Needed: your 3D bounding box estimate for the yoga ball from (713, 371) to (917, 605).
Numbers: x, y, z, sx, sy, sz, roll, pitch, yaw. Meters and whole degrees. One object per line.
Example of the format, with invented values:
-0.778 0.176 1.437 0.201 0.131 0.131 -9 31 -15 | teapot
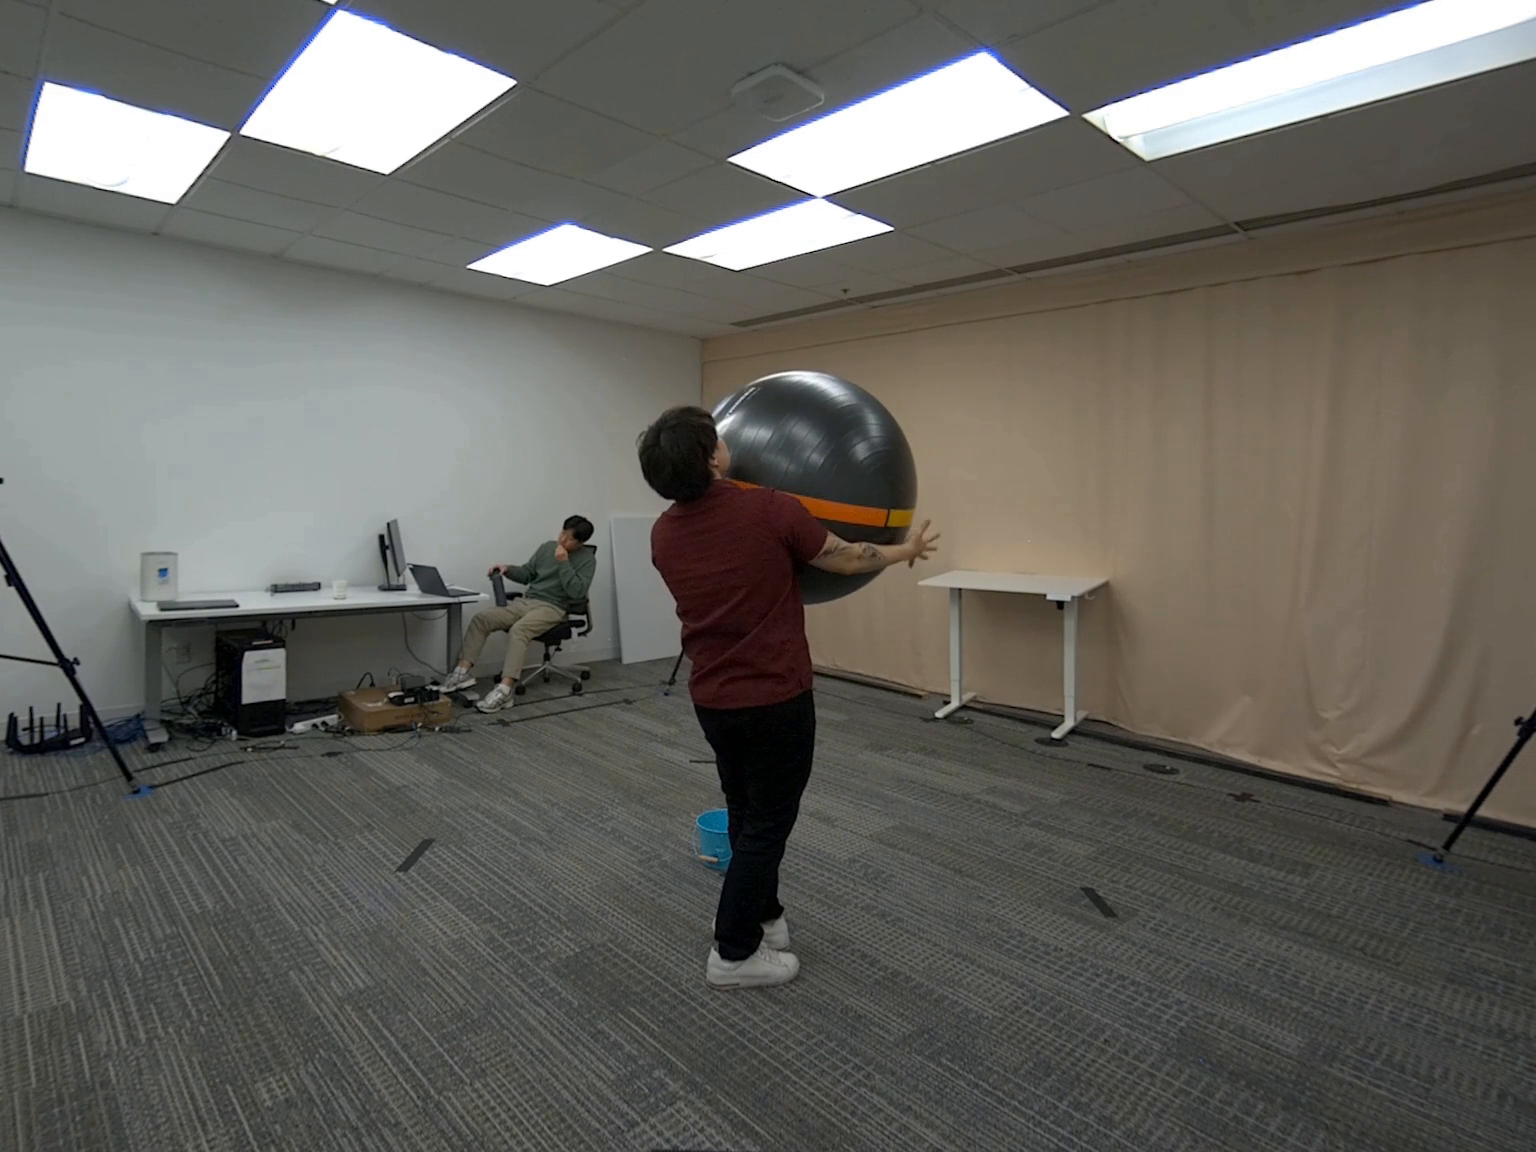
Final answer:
0.098 -0.277 2.759 0.757 0.756 0.761 1 4 -1 | yoga ball
